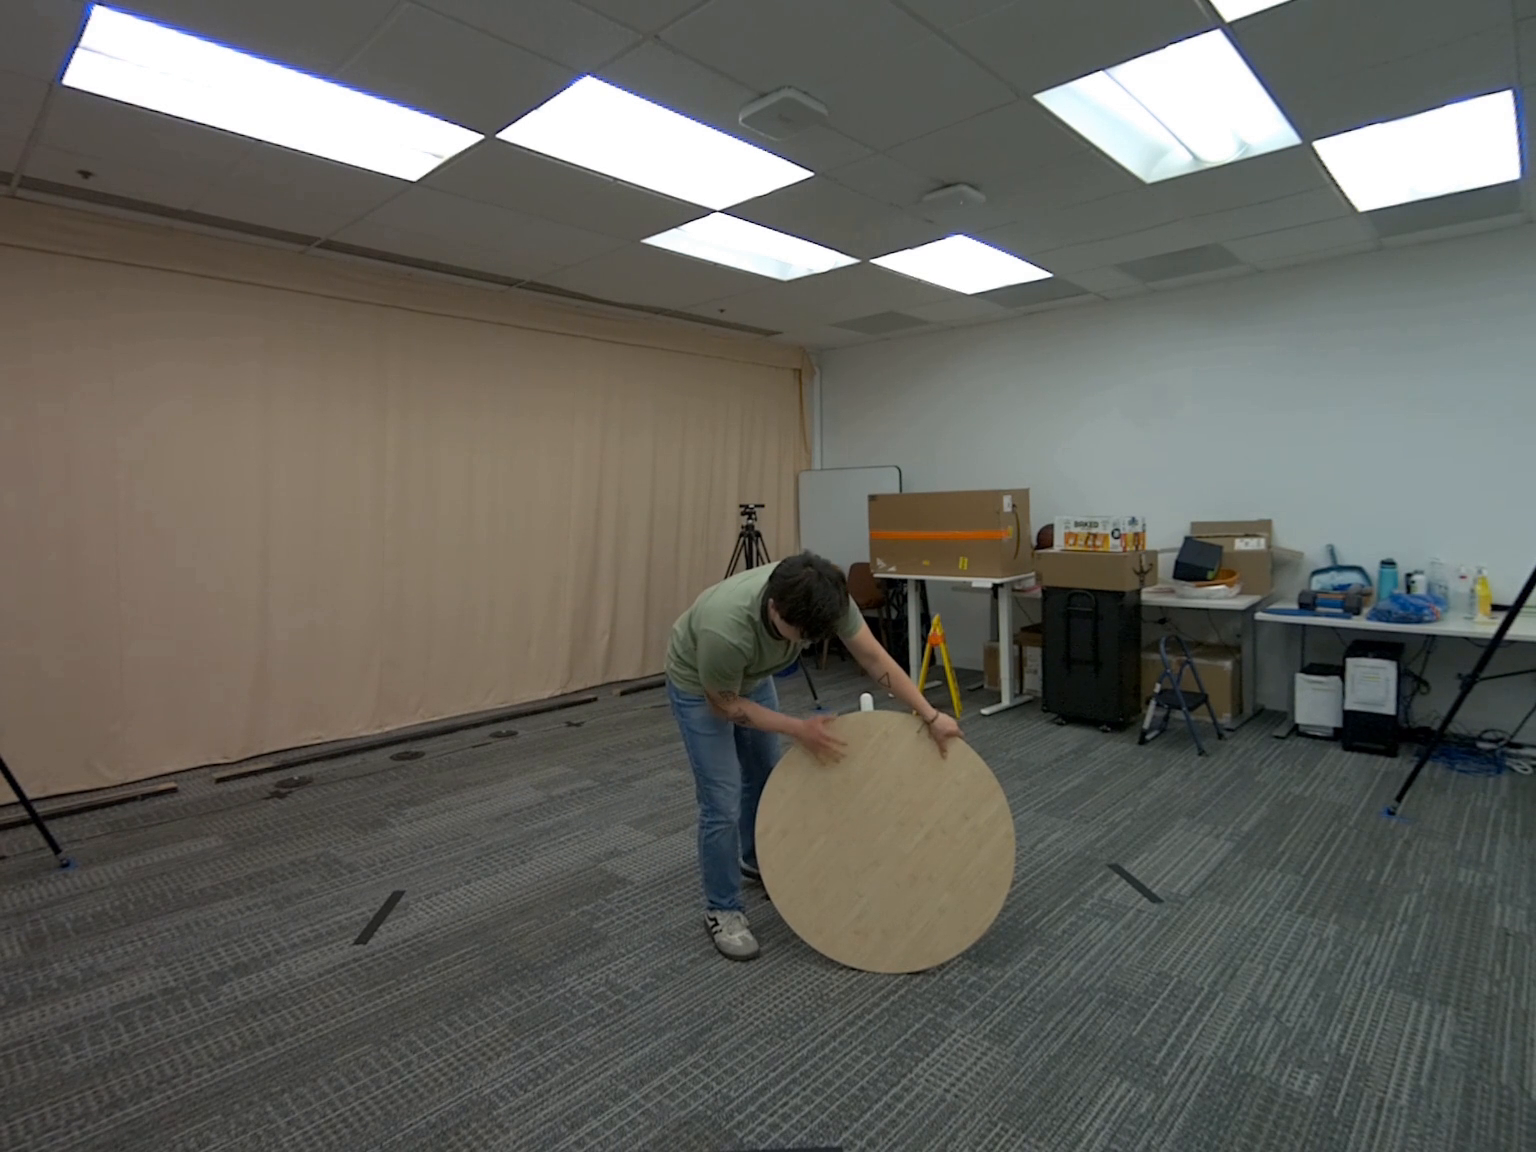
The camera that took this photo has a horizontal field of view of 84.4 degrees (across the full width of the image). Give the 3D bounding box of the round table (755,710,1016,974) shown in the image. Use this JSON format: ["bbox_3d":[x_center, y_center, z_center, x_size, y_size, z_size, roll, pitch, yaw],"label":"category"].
[{"bbox_3d":[0.373,0.804,2.903,0.770,0.765,0.786,0,-2,7],"label":"round table"}]
